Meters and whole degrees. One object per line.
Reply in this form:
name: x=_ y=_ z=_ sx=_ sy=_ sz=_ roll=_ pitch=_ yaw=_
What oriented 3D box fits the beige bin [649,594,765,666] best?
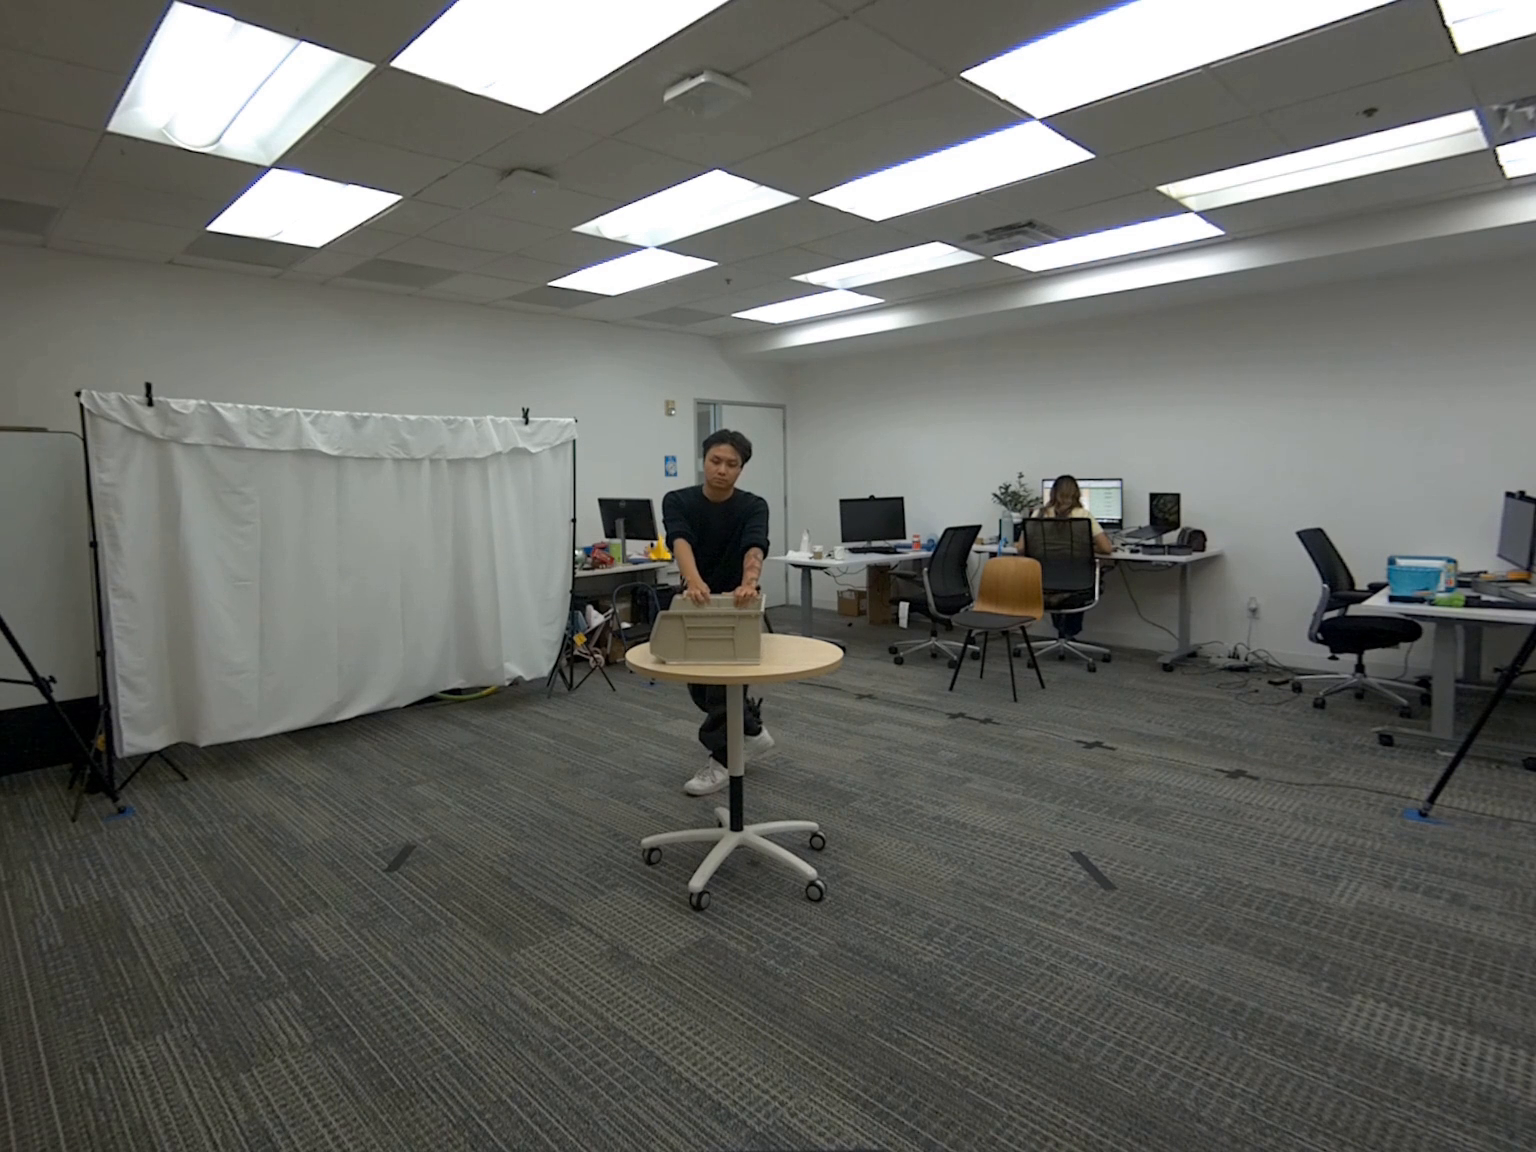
beige bin: x=-0.212 y=0.183 z=3.008 sx=0.378 sy=0.188 sz=0.423 roll=0 pitch=6 yaw=2
